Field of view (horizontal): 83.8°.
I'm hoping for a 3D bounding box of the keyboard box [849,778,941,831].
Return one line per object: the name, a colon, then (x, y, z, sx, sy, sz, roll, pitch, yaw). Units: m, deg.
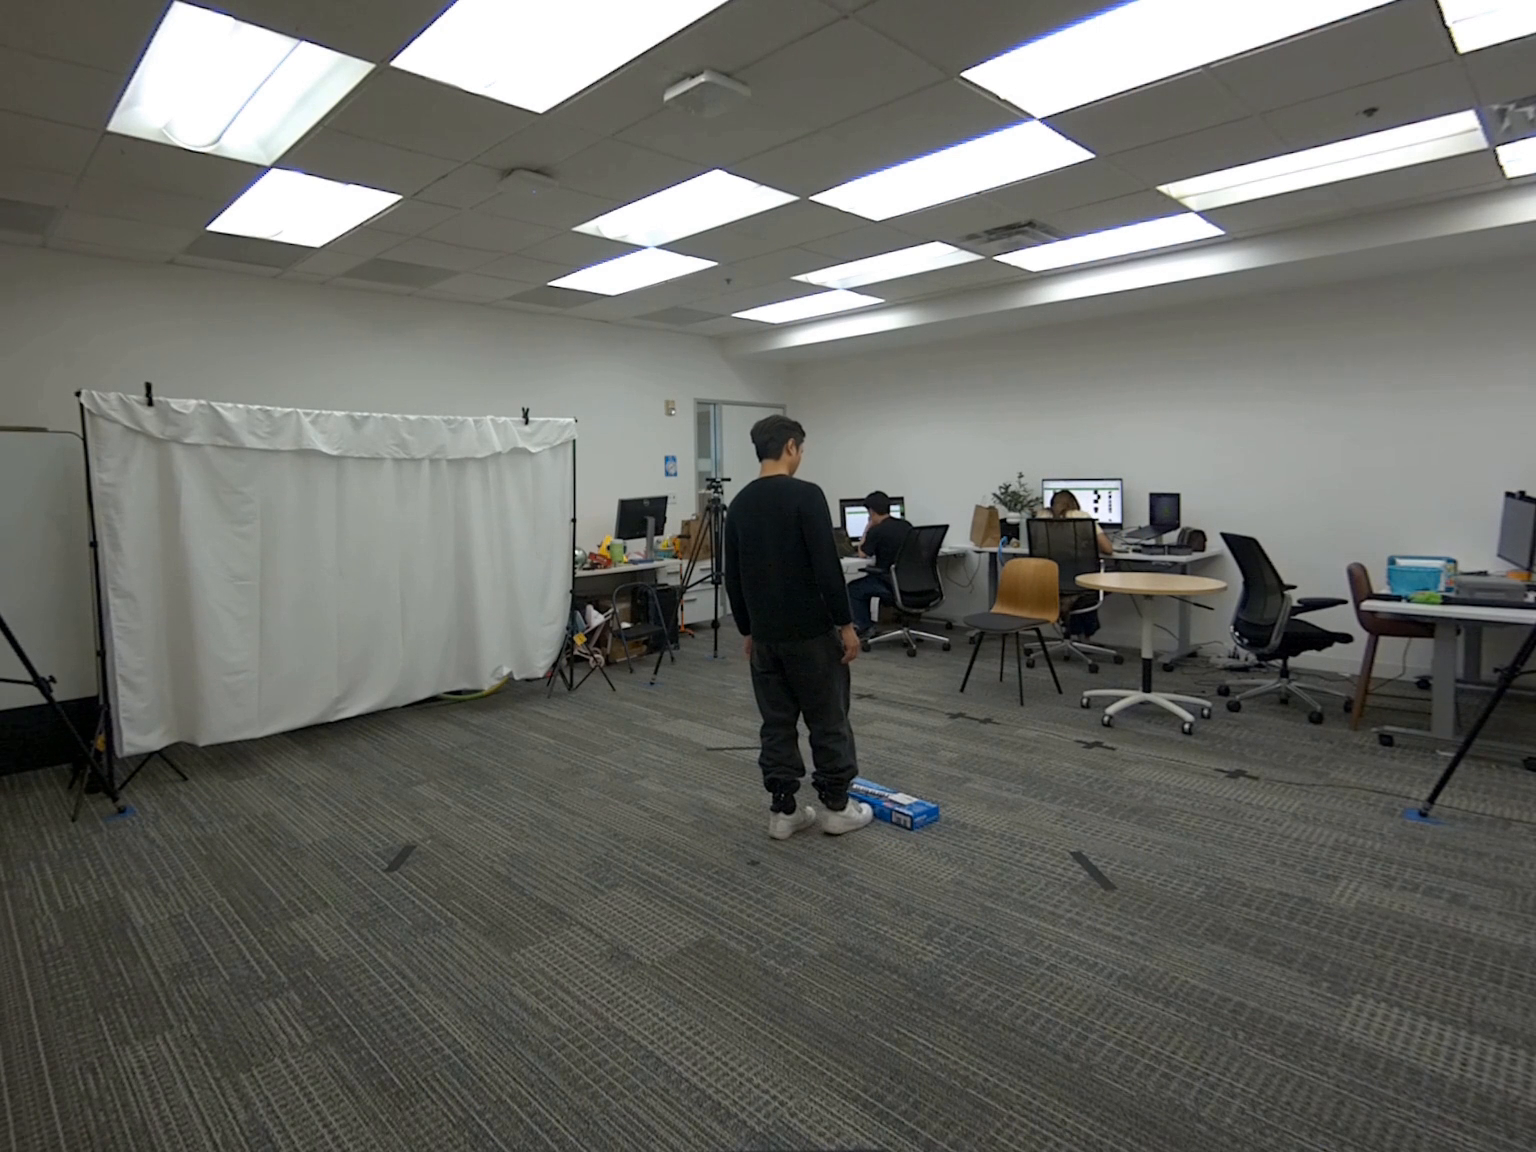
keyboard box: (0.488, 0.951, 3.587, 0.171, 0.059, 0.450, -5, 8, -40)
